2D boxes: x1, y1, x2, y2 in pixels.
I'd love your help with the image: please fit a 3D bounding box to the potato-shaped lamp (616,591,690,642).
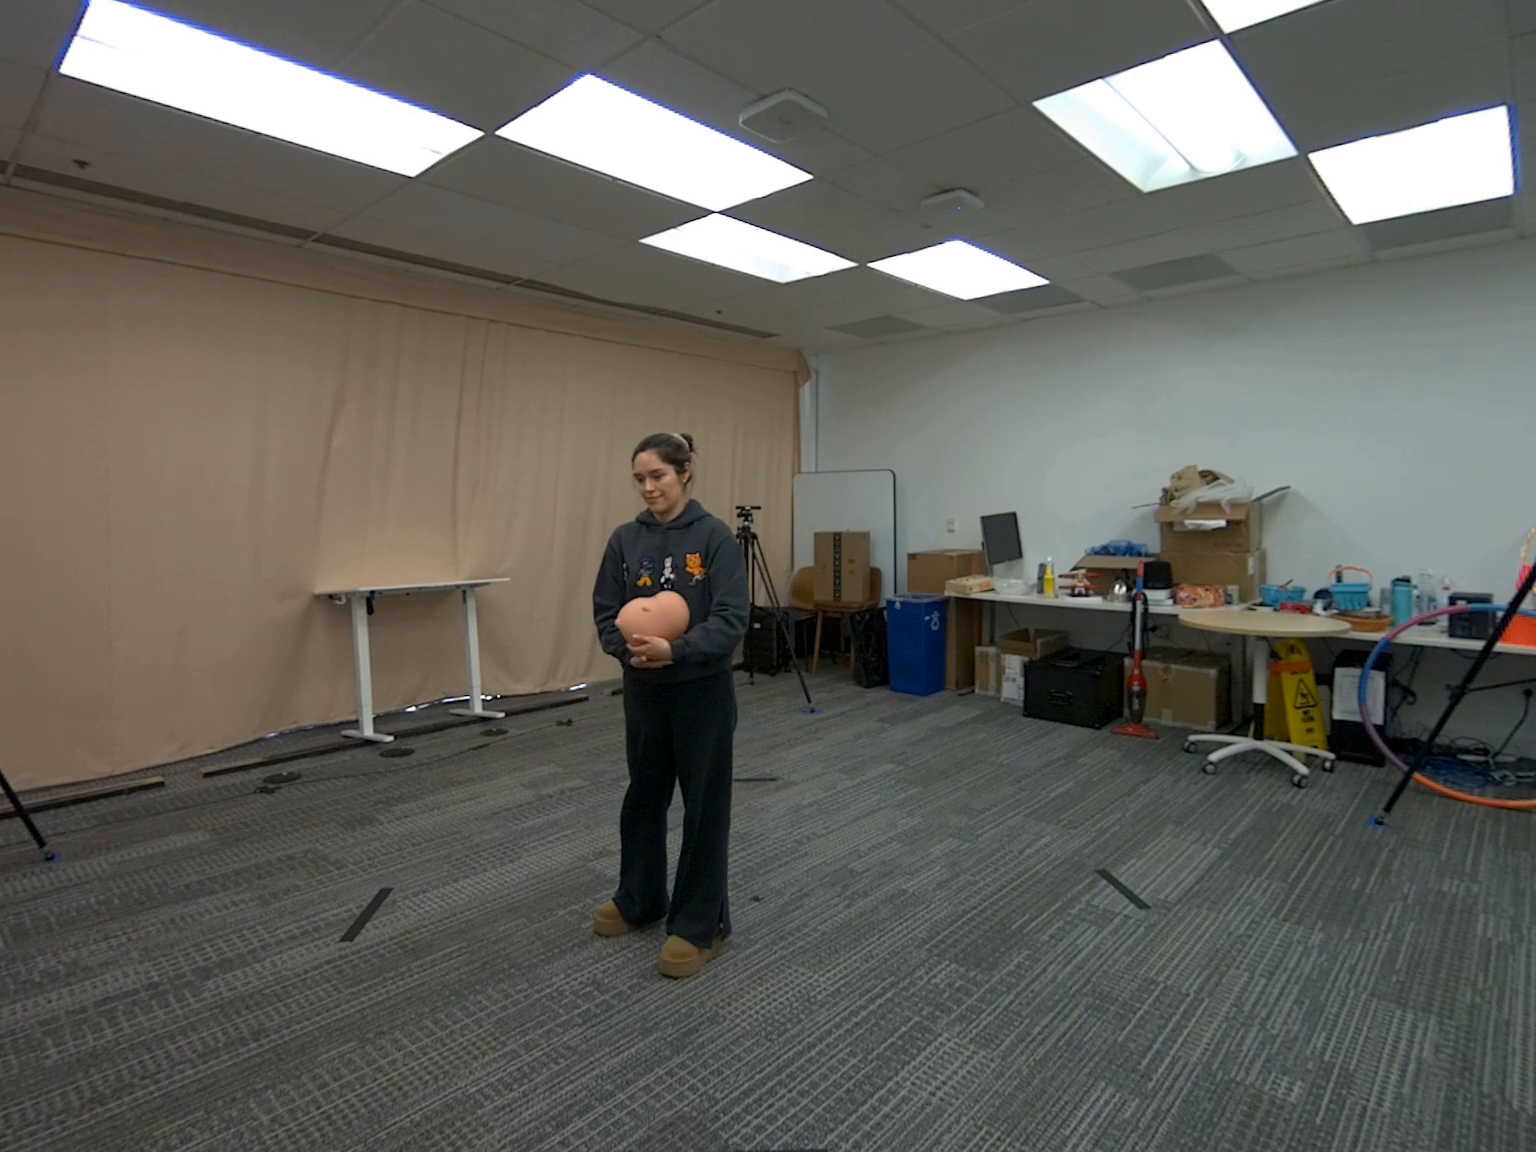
[{"bbox_3d":[-0.320,0.128,2.469,0.198,0.170,0.165,-35,7,4],"label":"potato-shaped lamp"}]
